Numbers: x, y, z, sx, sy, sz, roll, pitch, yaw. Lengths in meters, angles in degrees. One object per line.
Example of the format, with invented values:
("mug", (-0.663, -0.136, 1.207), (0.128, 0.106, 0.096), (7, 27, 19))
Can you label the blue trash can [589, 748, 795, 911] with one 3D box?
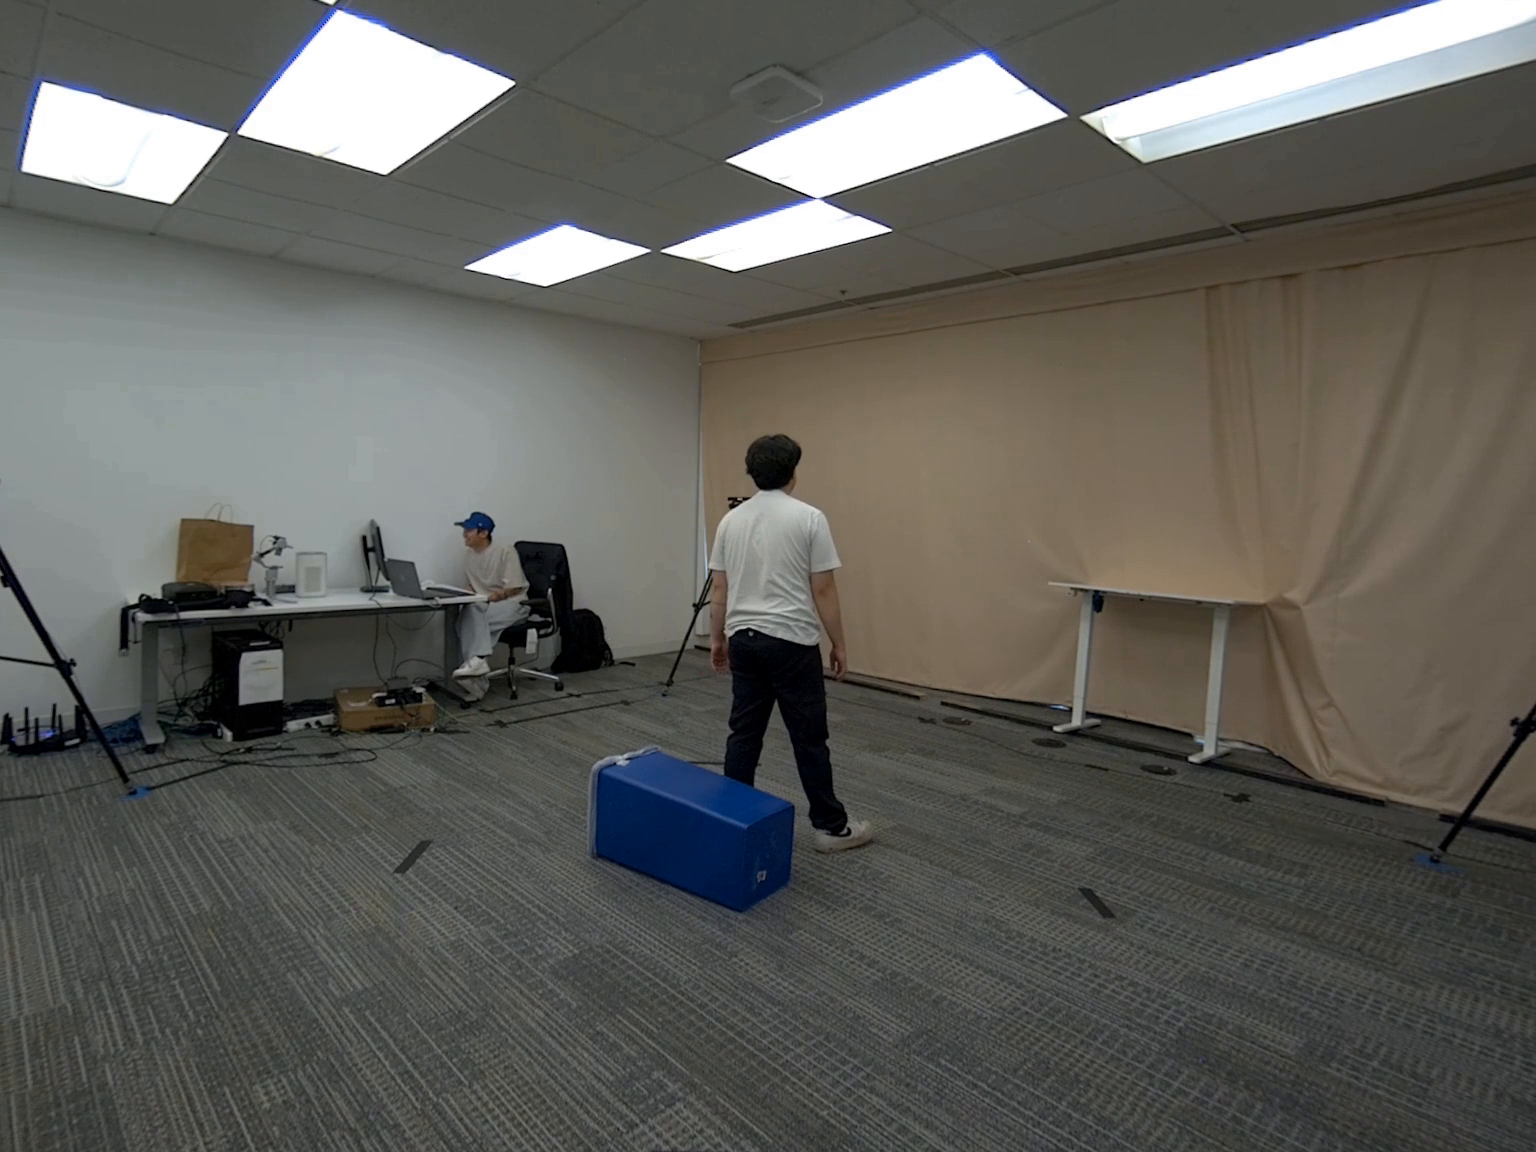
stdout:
("blue trash can", (-0.297, 0.939, 3.139), (0.732, 0.373, 0.369), (9, 7, 37))
